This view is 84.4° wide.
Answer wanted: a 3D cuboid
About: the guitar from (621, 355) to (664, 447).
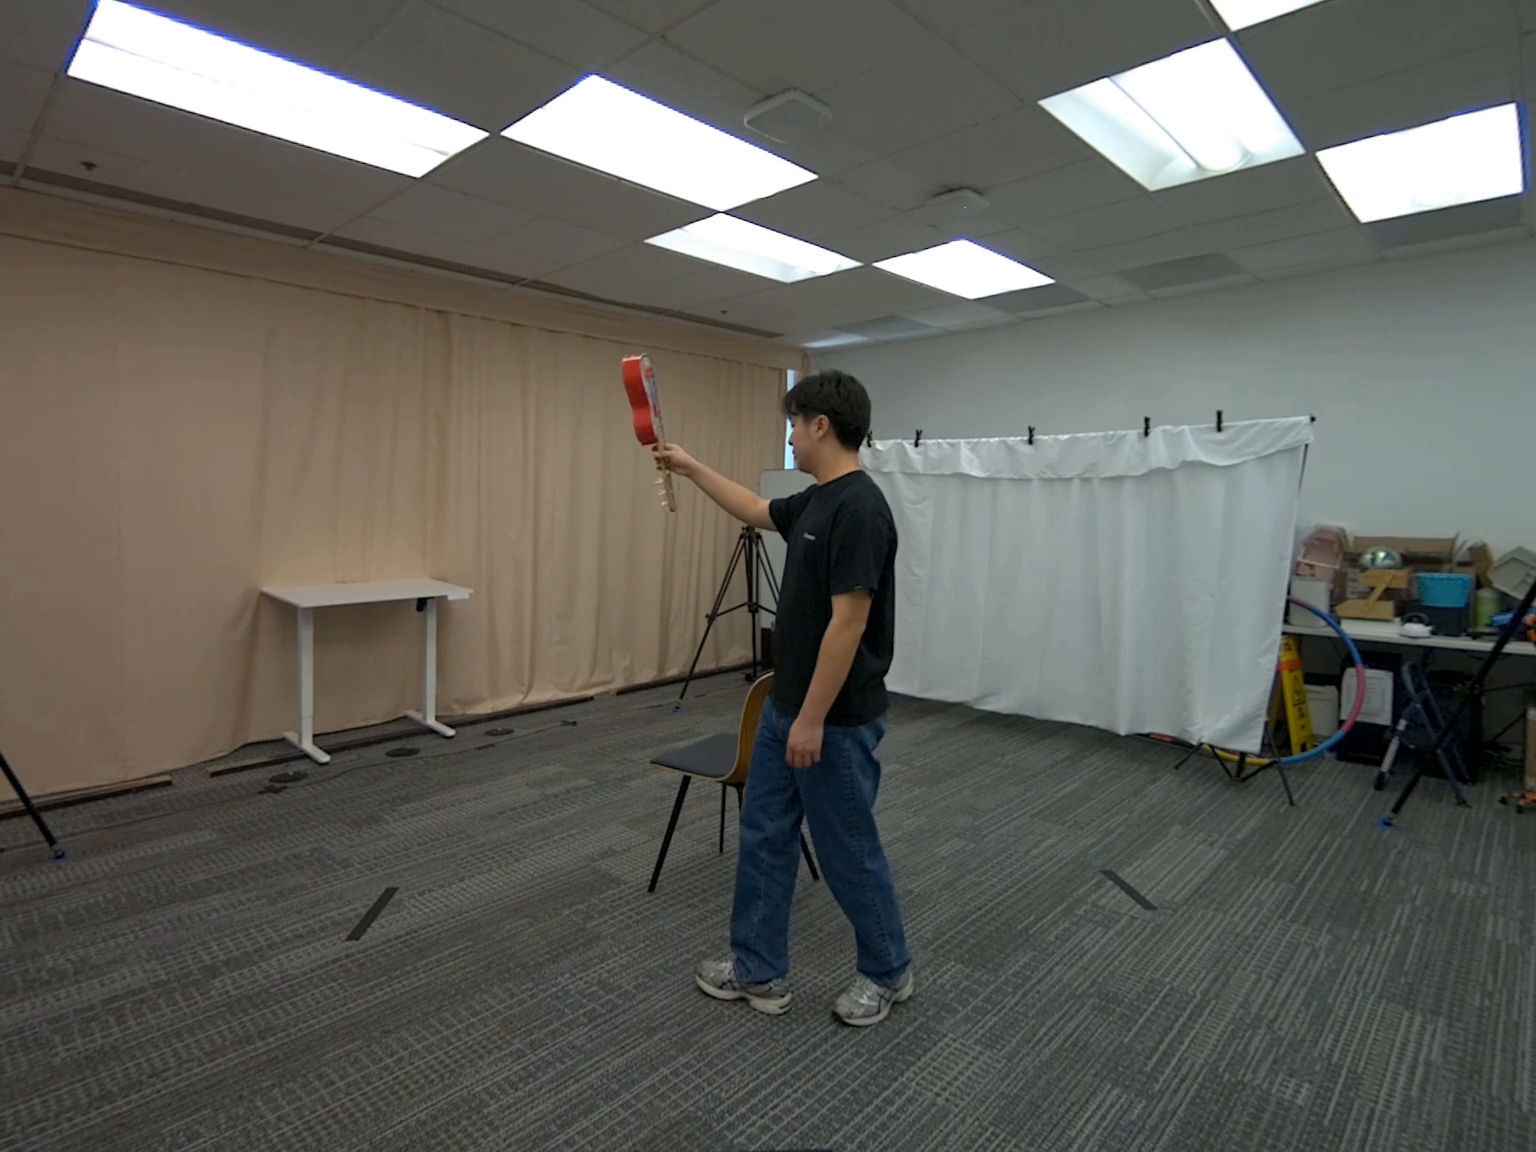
[{"bbox_3d":[-0.364,-0.438,2.609,0.071,0.496,0.192,-8,4,4],"label":"guitar"}]
